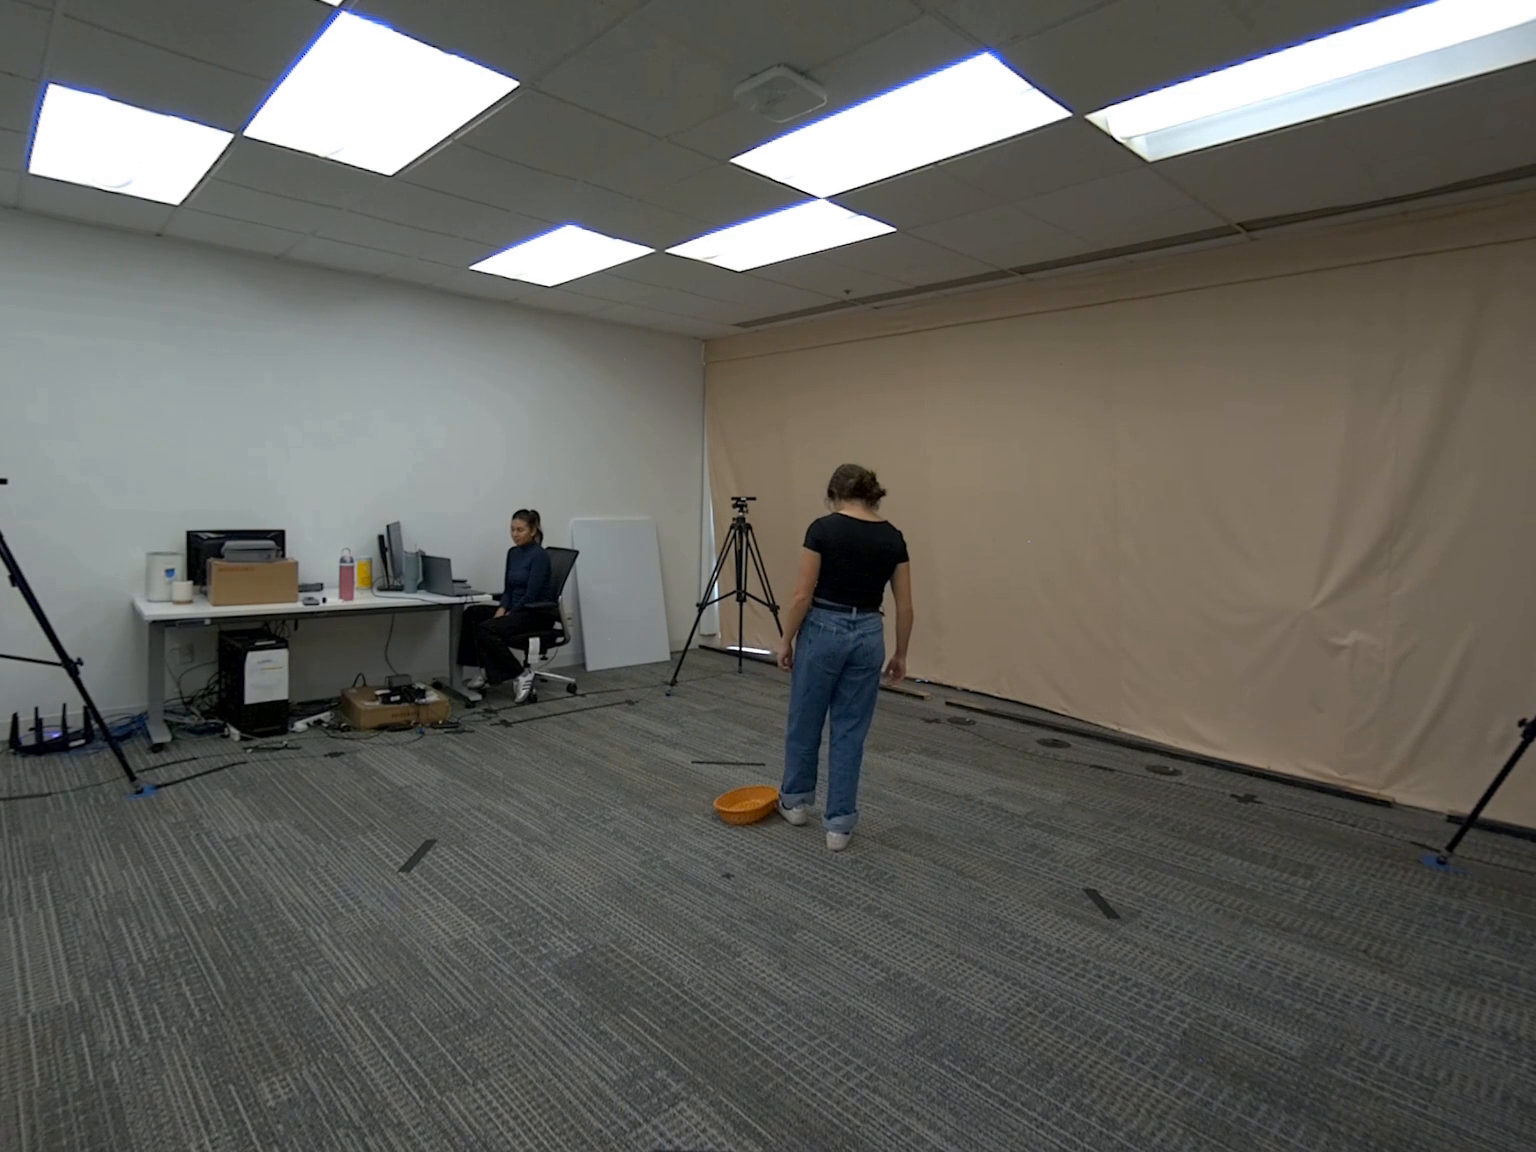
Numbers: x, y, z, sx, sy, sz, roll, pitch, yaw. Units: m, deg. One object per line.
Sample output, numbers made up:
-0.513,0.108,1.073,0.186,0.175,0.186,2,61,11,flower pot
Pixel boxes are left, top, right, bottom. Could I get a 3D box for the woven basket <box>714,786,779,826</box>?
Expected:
-0.105,1.005,3.713,0.258,0.073,0.344,-1,5,31,woven basket
